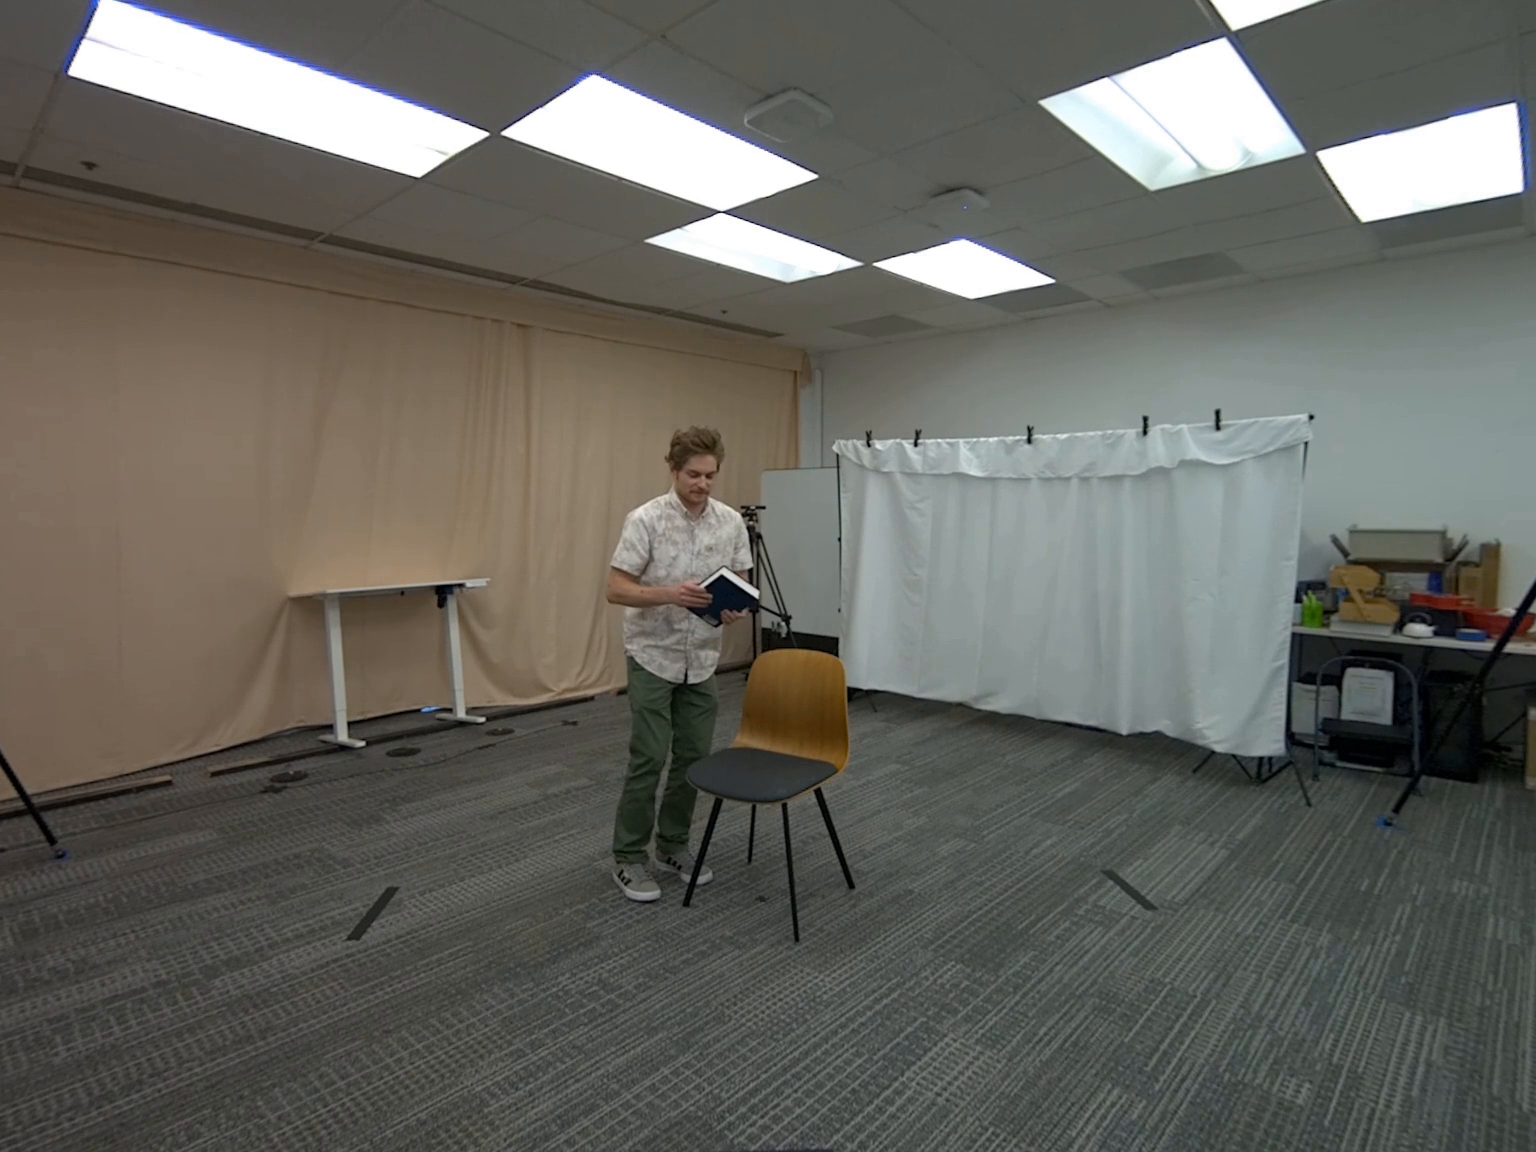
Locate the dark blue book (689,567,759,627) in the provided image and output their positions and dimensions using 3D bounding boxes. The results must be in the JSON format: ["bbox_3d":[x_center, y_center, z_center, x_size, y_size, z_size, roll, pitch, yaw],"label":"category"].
[{"bbox_3d":[-0.169,0.078,2.884,0.160,0.045,0.248,37,-45,-18],"label":"dark blue book"}]
